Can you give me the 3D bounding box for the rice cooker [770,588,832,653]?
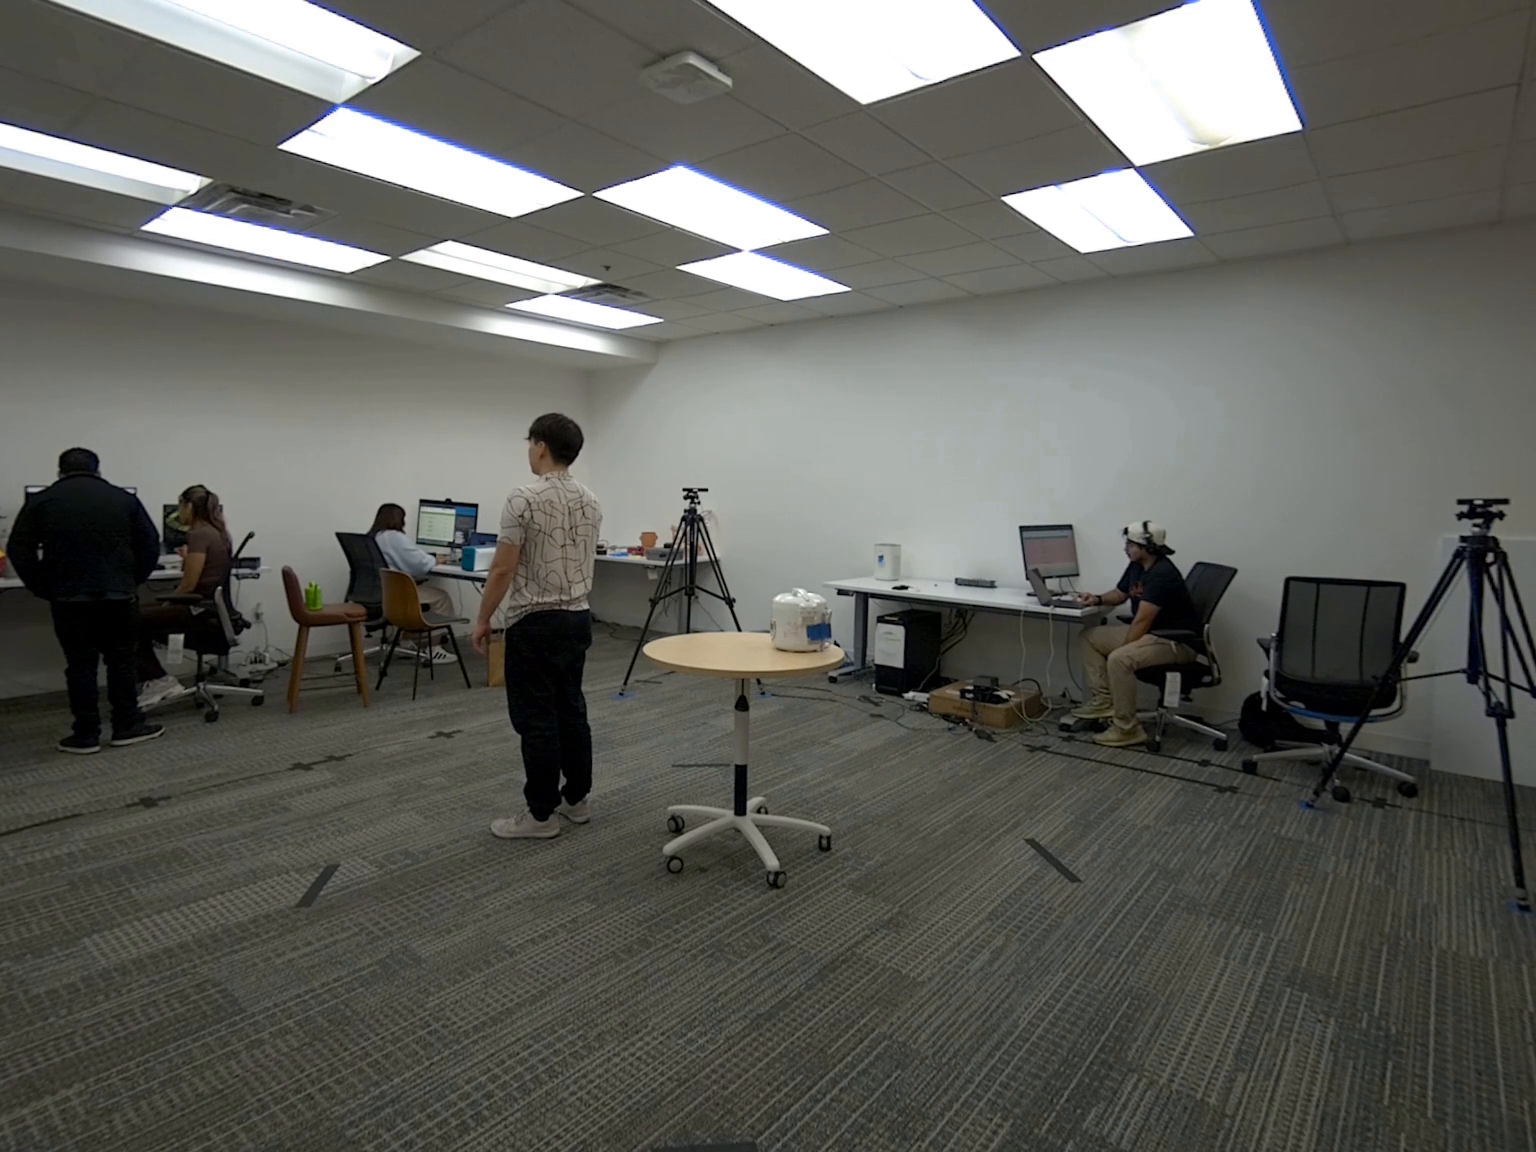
[{"bbox_3d":[0.109,0.161,3.274,0.214,0.232,0.224,1,4,-15],"label":"rice cooker"}]
